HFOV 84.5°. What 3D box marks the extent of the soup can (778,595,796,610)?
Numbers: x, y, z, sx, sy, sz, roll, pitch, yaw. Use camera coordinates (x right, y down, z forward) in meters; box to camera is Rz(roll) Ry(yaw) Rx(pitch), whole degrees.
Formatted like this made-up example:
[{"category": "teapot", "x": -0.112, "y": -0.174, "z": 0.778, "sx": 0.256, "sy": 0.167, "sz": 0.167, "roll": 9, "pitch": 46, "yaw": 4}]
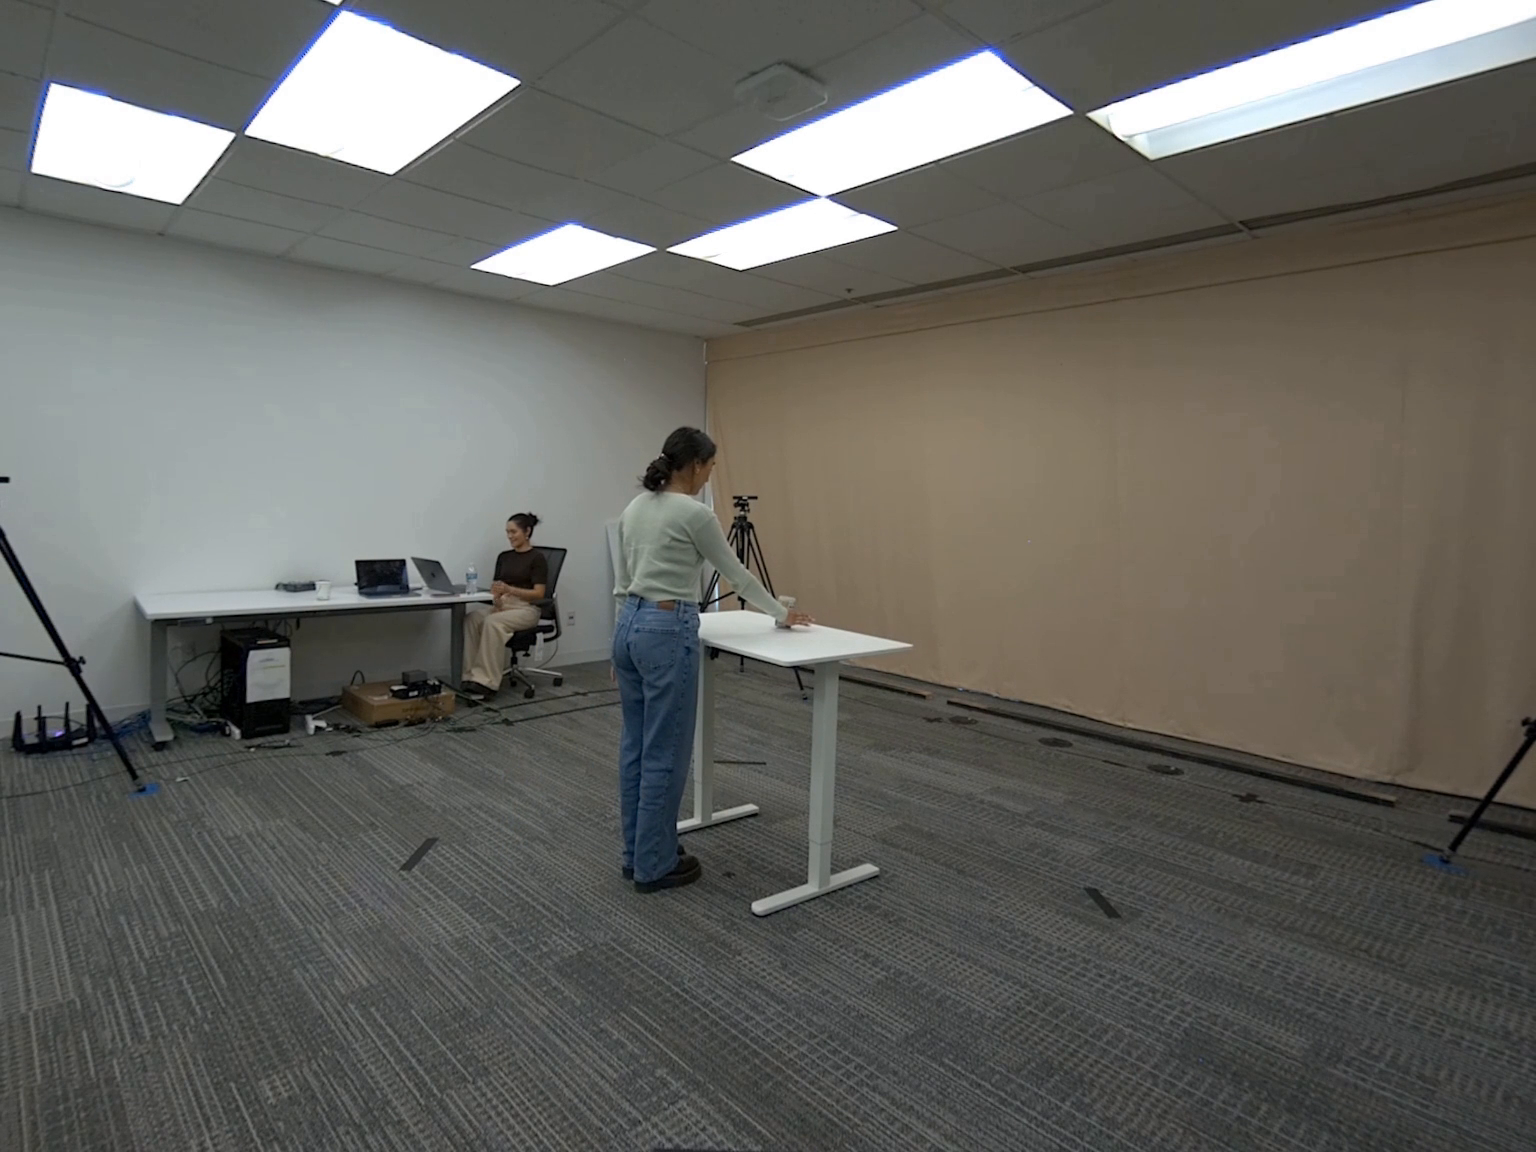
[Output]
[{"category": "soup can", "x": 0.068, "y": 0.145, "z": 3.311, "sx": 0.067, "sy": 0.121, "sz": 0.067, "roll": 5, "pitch": 1, "yaw": -2}]
